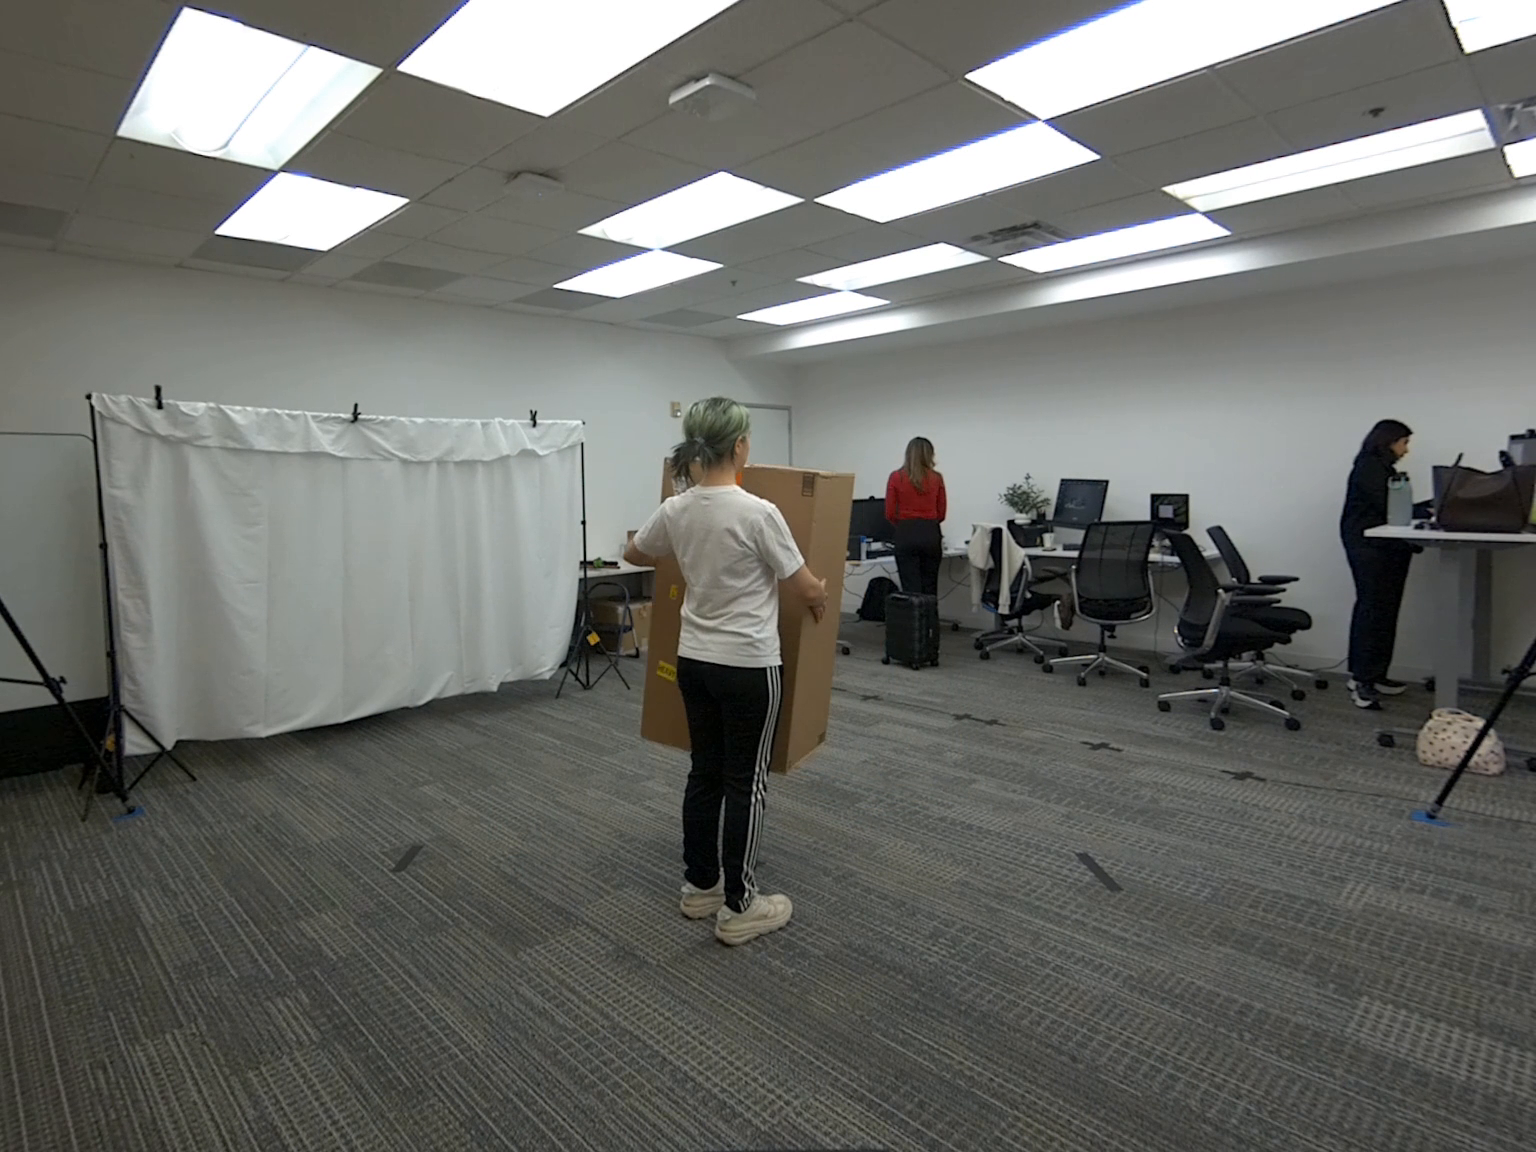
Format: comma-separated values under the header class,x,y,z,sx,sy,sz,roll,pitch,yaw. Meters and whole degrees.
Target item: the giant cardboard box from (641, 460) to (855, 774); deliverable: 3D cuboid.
class,x,y,z,sx,sy,sz,roll,pitch,yaw
giant cardboard box,-0.068,0.109,3.111,0.592,1.021,0.417,8,6,25
